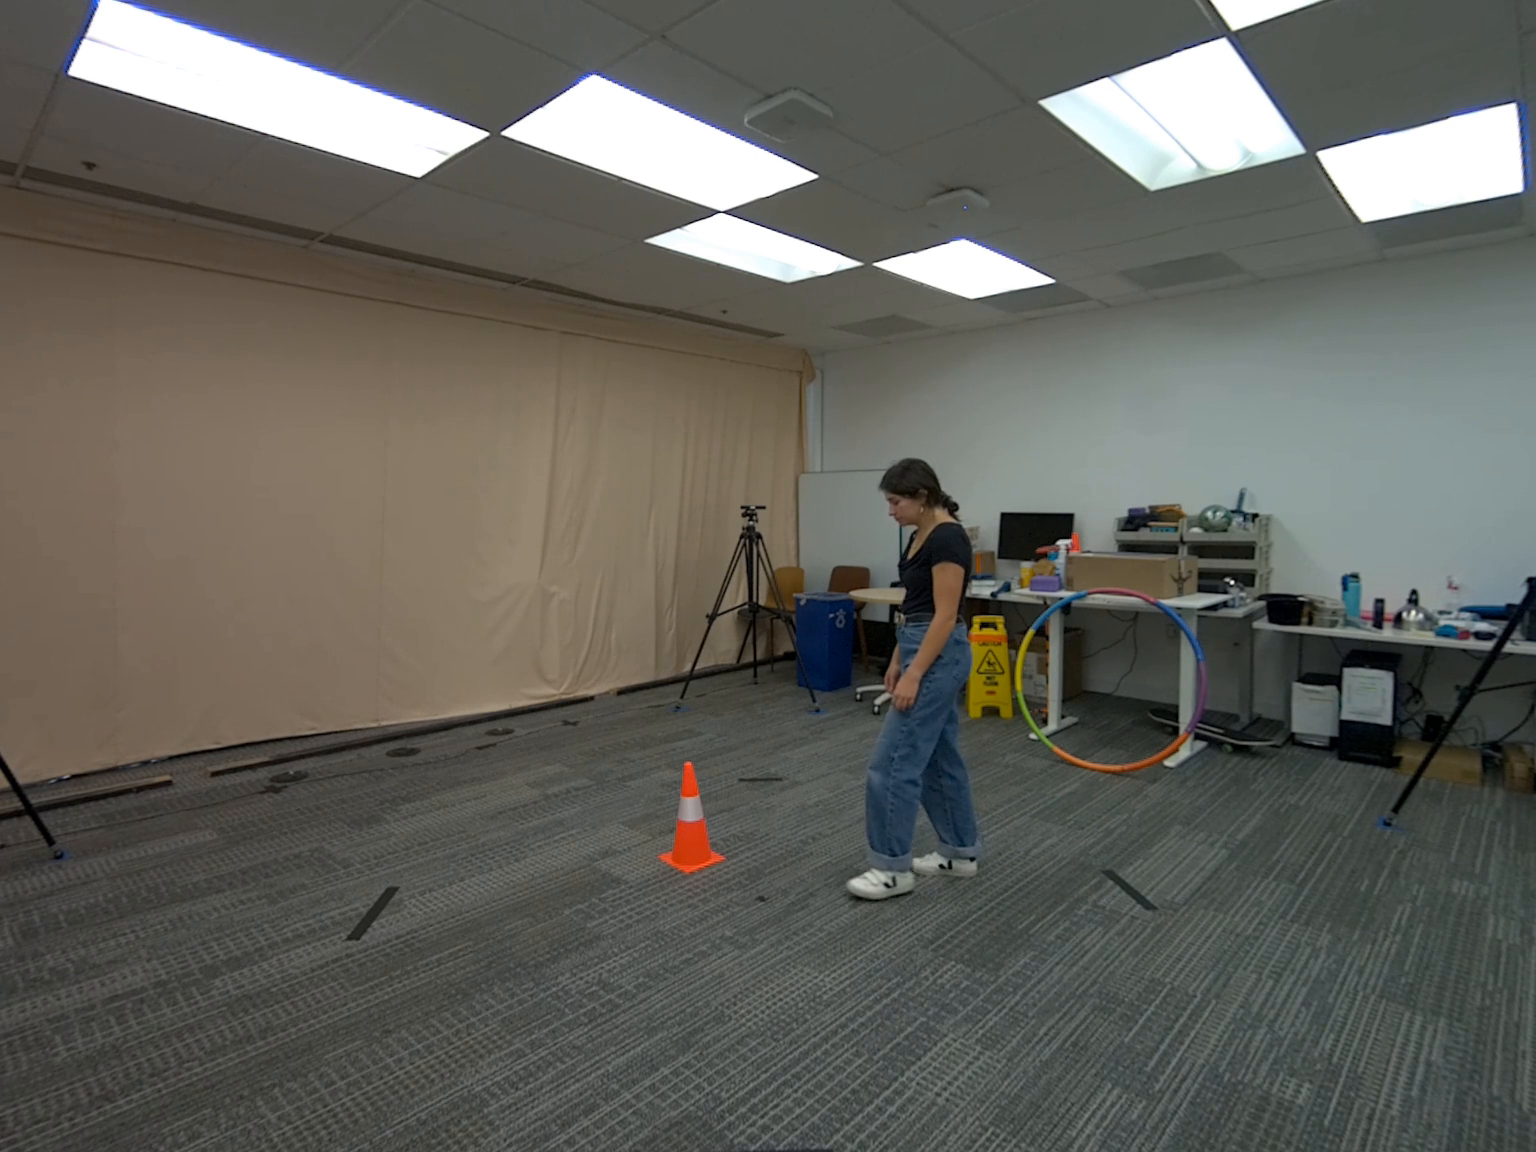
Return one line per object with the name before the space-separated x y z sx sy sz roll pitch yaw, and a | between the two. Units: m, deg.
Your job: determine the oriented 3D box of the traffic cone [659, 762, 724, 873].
traffic cone | -0.301 0.935 3.322 0.197 0.383 0.211 -4 4 -41
